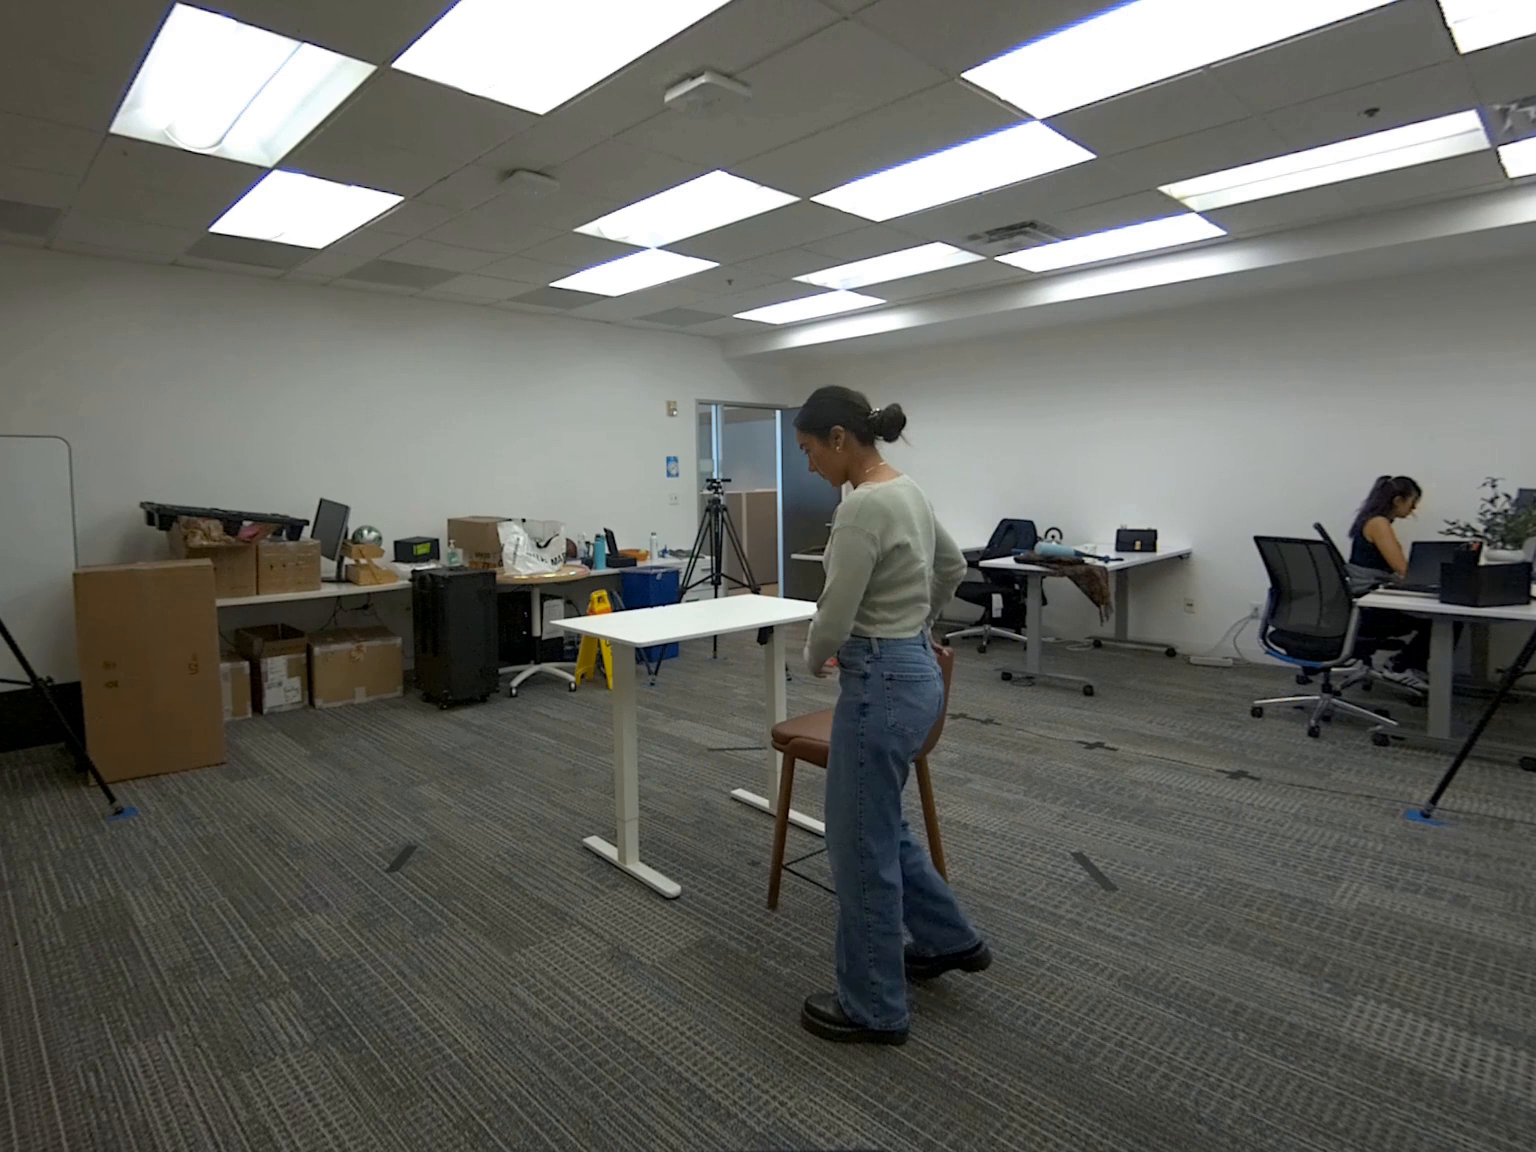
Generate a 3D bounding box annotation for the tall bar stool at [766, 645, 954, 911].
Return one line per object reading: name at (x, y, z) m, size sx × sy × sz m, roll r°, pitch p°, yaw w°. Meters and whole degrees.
tall bar stool at (0.297, 0.645, 2.696) m, size 0.444 × 0.885 × 0.482 m, roll -4°, pitch 8°, yaw -40°
